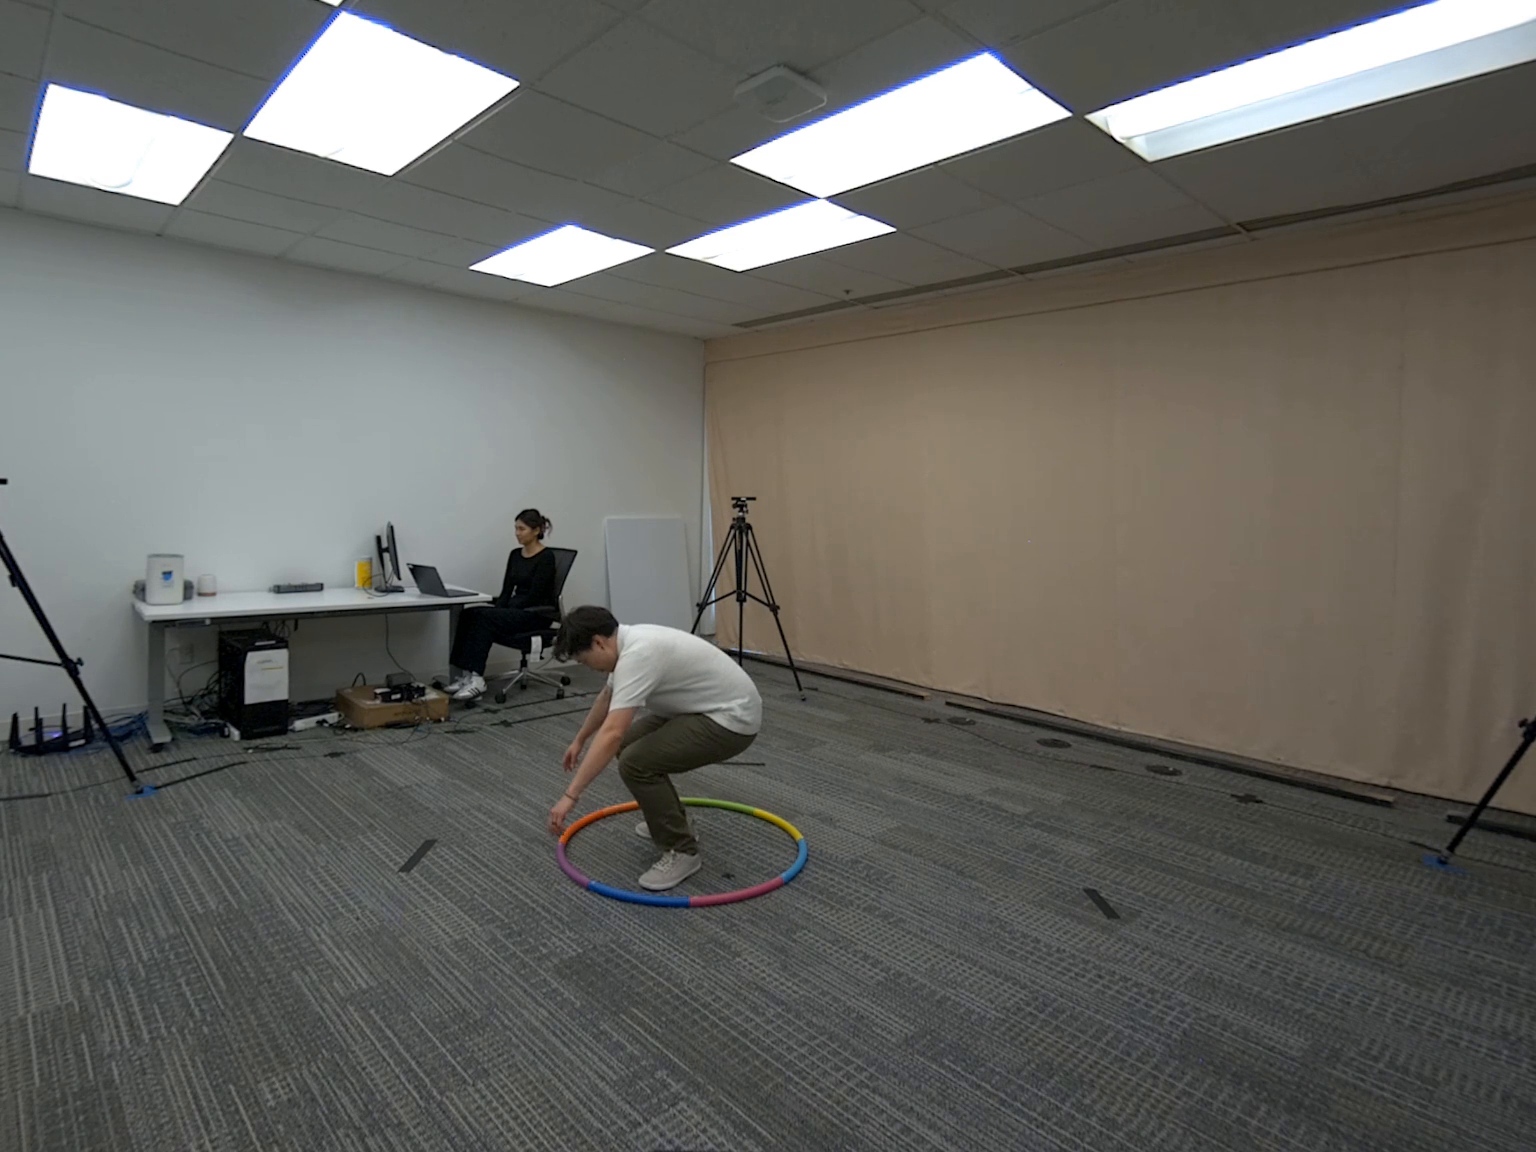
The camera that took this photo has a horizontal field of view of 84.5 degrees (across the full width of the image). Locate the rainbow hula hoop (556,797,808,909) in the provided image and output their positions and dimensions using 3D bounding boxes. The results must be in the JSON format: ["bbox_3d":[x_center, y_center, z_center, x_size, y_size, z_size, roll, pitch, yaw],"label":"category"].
[{"bbox_3d":[-0.347,1.053,3.338,0.978,0.035,0.982,1,5,-1],"label":"rainbow hula hoop"}]
